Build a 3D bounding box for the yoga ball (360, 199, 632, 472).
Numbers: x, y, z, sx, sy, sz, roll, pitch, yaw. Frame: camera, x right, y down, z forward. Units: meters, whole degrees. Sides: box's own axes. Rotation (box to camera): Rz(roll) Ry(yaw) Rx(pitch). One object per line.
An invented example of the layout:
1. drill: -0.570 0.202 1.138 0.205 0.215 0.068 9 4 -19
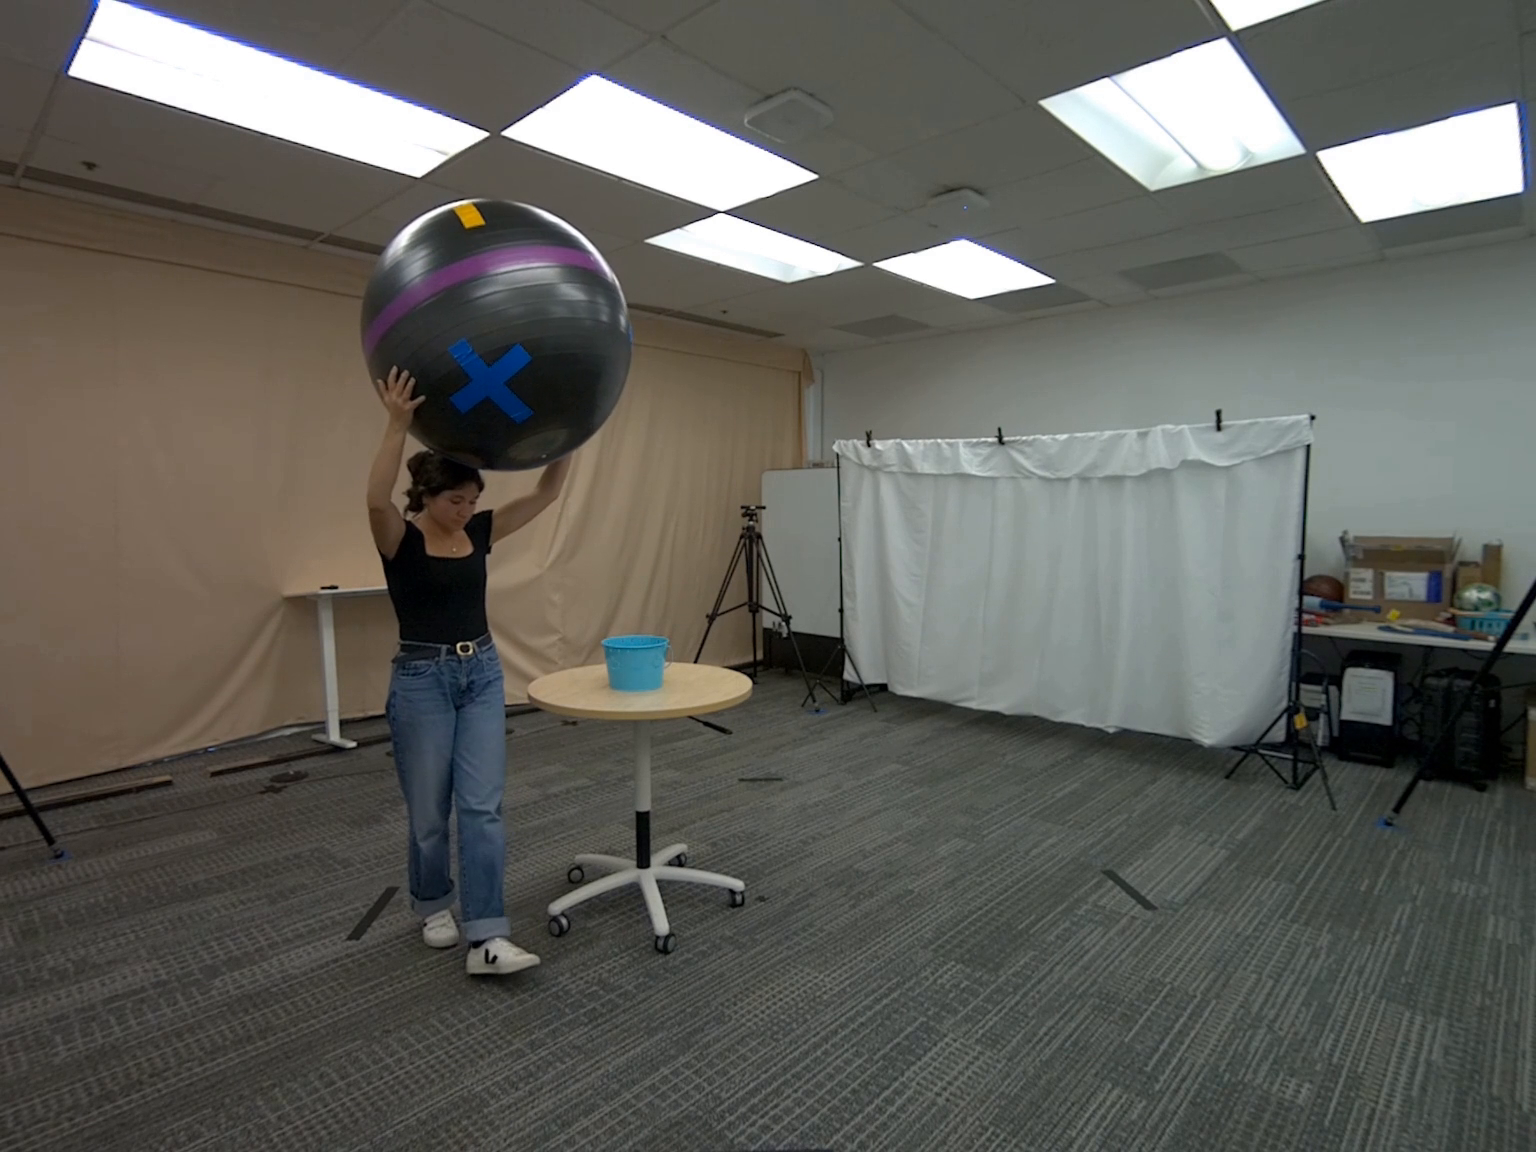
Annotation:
1. yoga ball: -0.781 -0.683 2.436 0.757 0.756 0.760 0 4 -2
